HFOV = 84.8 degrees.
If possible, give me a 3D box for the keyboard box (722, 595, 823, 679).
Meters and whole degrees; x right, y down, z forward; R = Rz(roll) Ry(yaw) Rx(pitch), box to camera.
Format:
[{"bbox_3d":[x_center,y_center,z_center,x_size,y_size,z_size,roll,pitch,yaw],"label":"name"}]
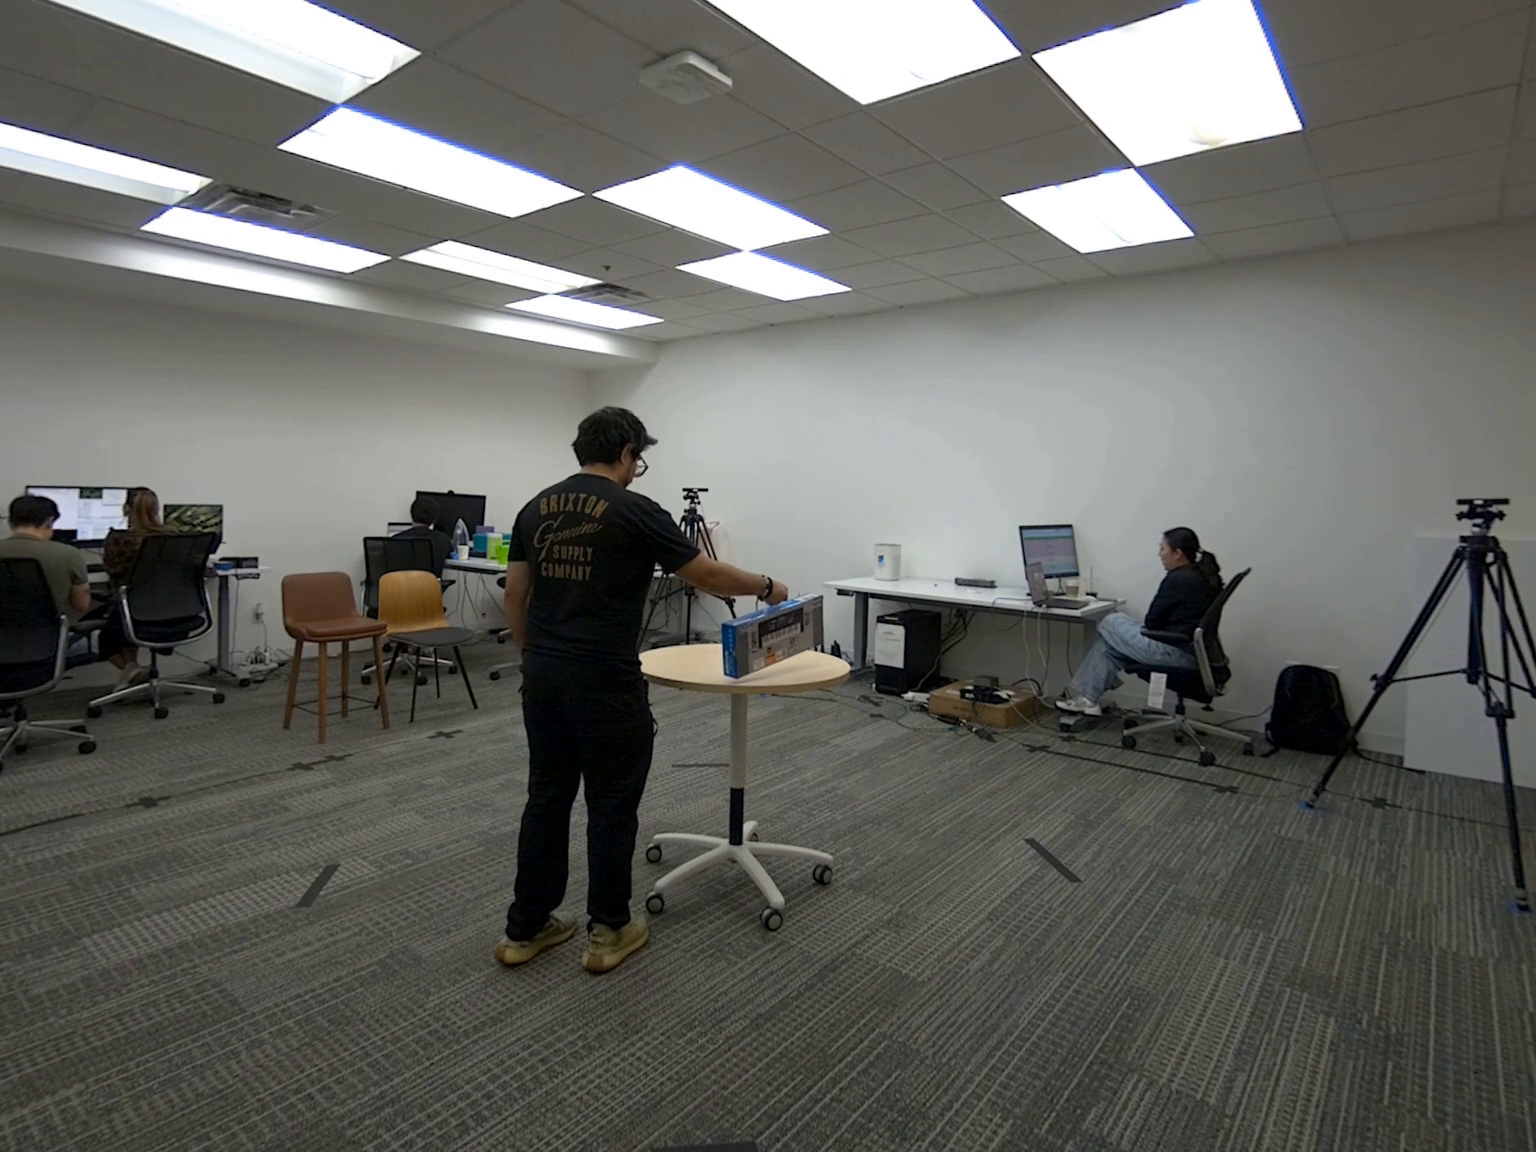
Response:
[{"bbox_3d":[0.017,0.186,2.759,0.061,0.174,0.427,6,16,42],"label":"keyboard box"}]
